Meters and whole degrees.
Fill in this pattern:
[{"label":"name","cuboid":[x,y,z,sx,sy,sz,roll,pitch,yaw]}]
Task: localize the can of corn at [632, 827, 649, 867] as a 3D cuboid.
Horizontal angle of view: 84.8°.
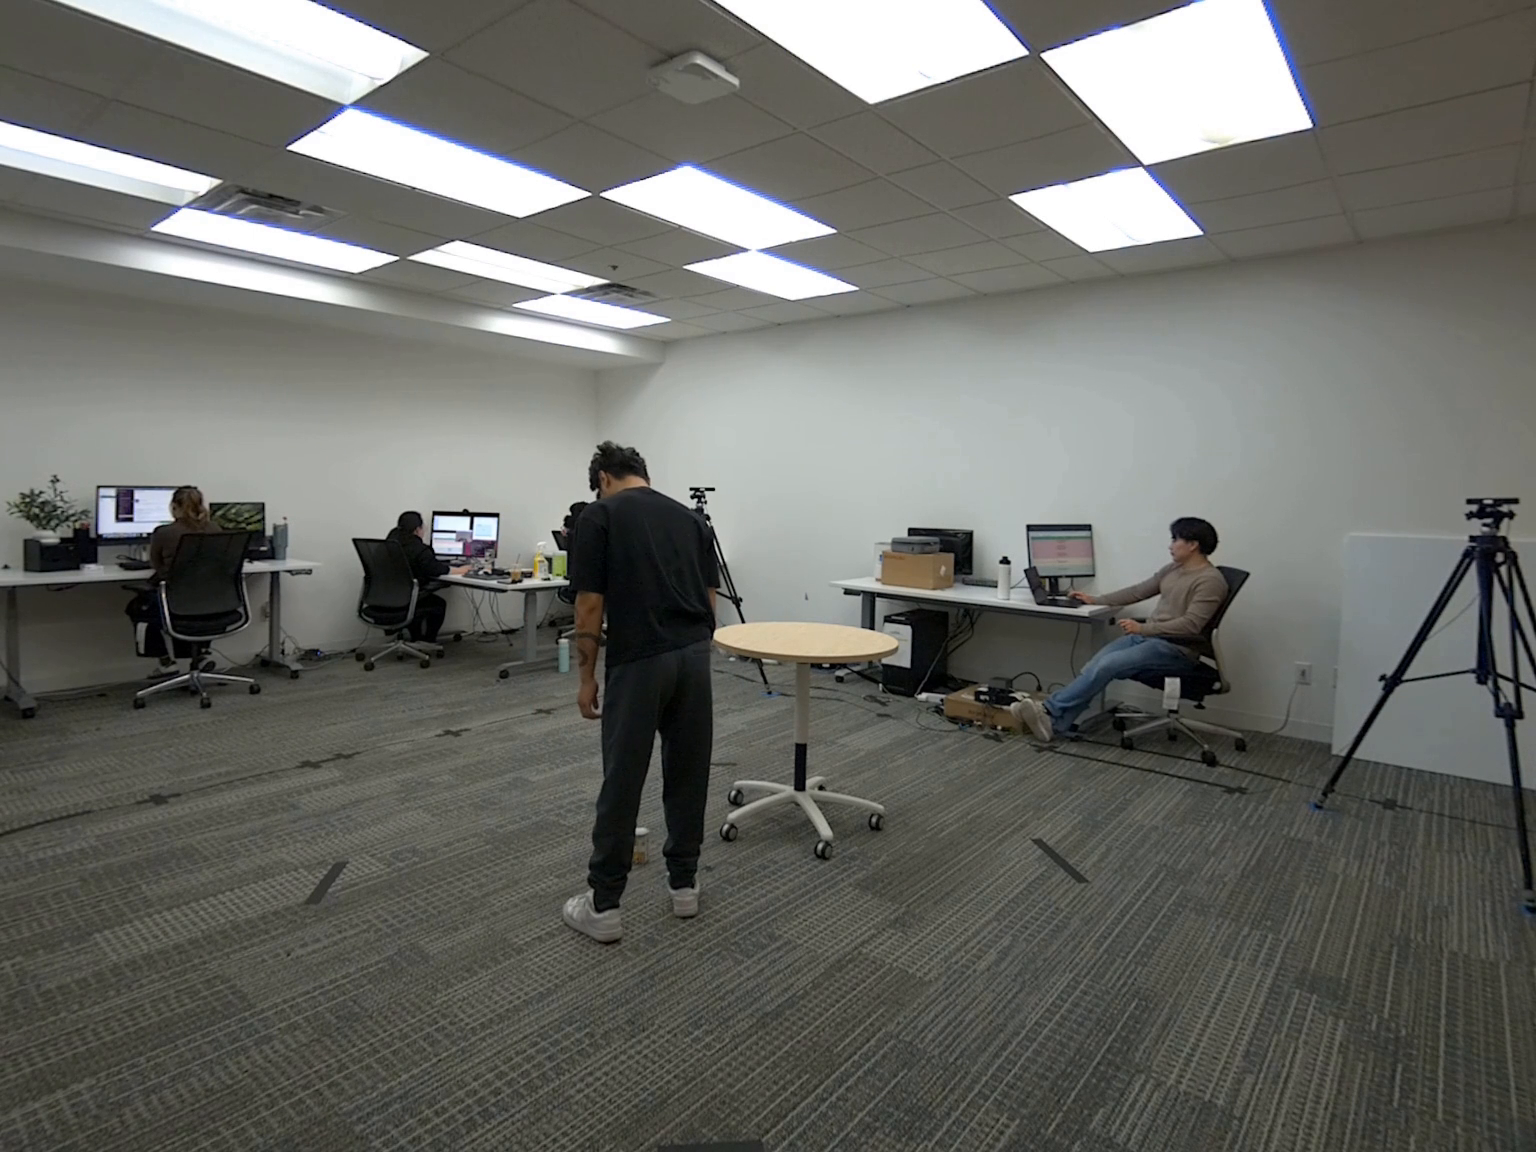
[{"label":"can of corn","cuboid":[-0.486,0.999,3.167,0.074,0.110,0.074,2,4,-2]}]
